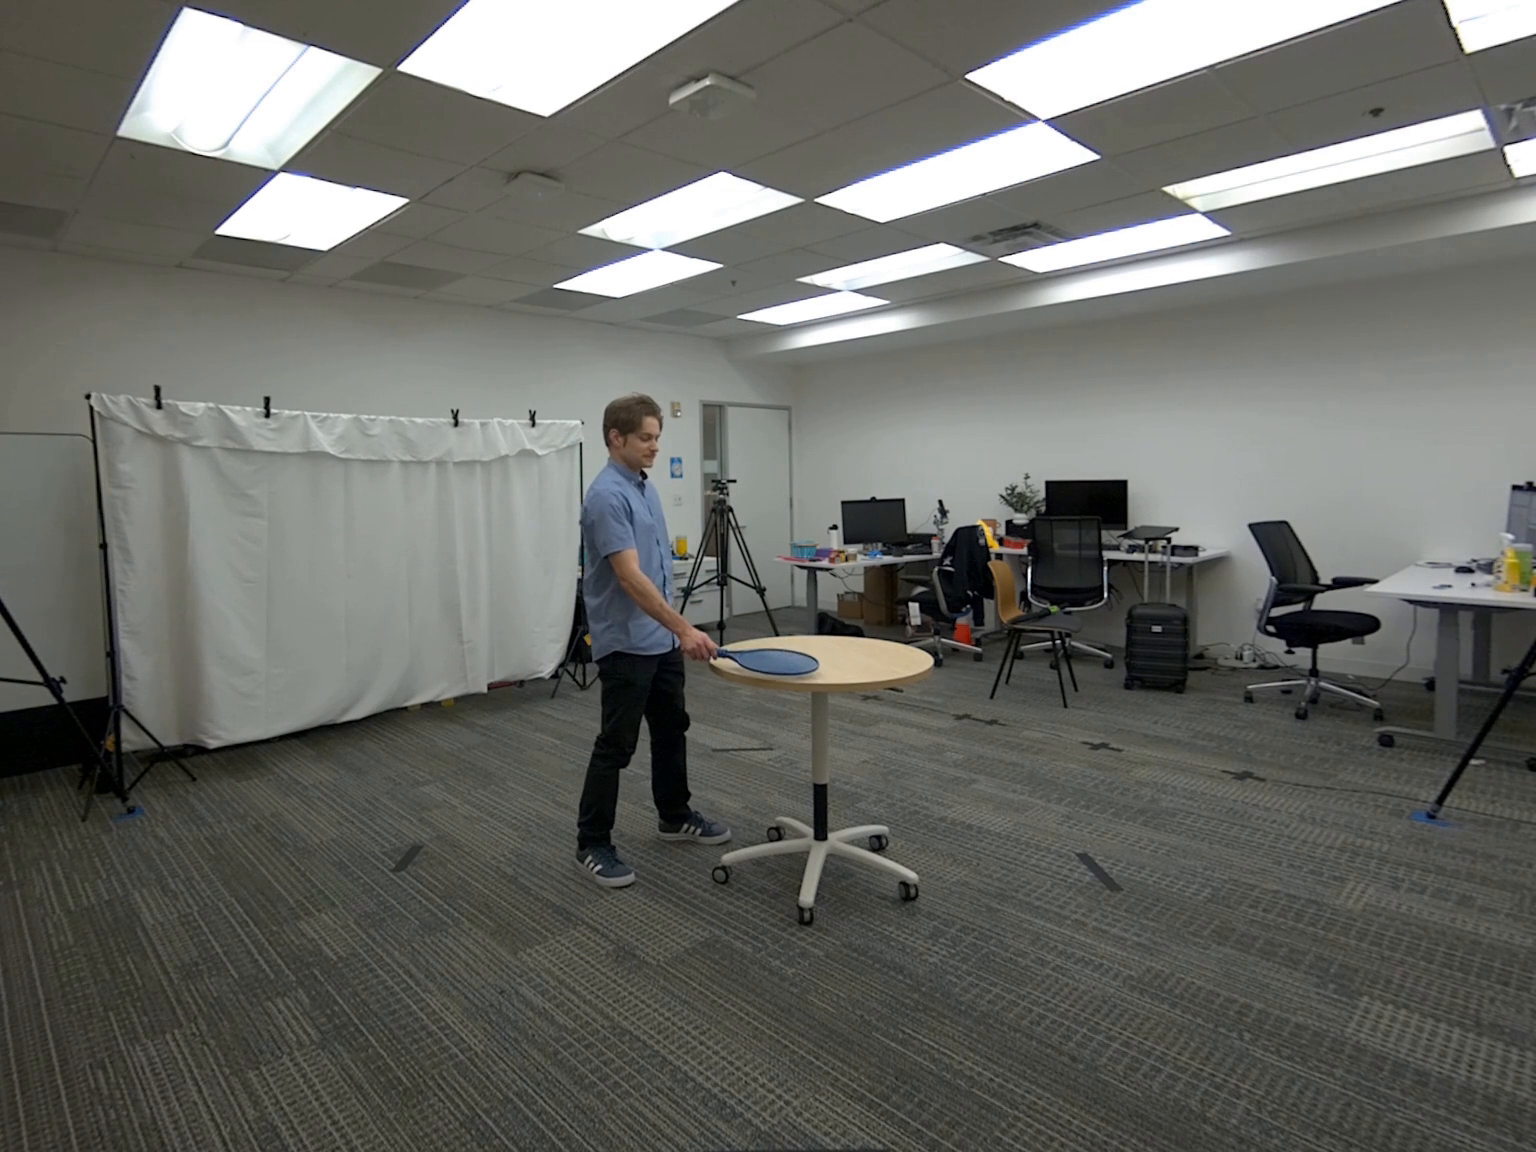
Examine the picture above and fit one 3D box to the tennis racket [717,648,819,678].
[{"bbox_3d":[-0.041,0.256,2.720,0.444,0.031,0.210,8,17,27],"label":"tennis racket"}]
